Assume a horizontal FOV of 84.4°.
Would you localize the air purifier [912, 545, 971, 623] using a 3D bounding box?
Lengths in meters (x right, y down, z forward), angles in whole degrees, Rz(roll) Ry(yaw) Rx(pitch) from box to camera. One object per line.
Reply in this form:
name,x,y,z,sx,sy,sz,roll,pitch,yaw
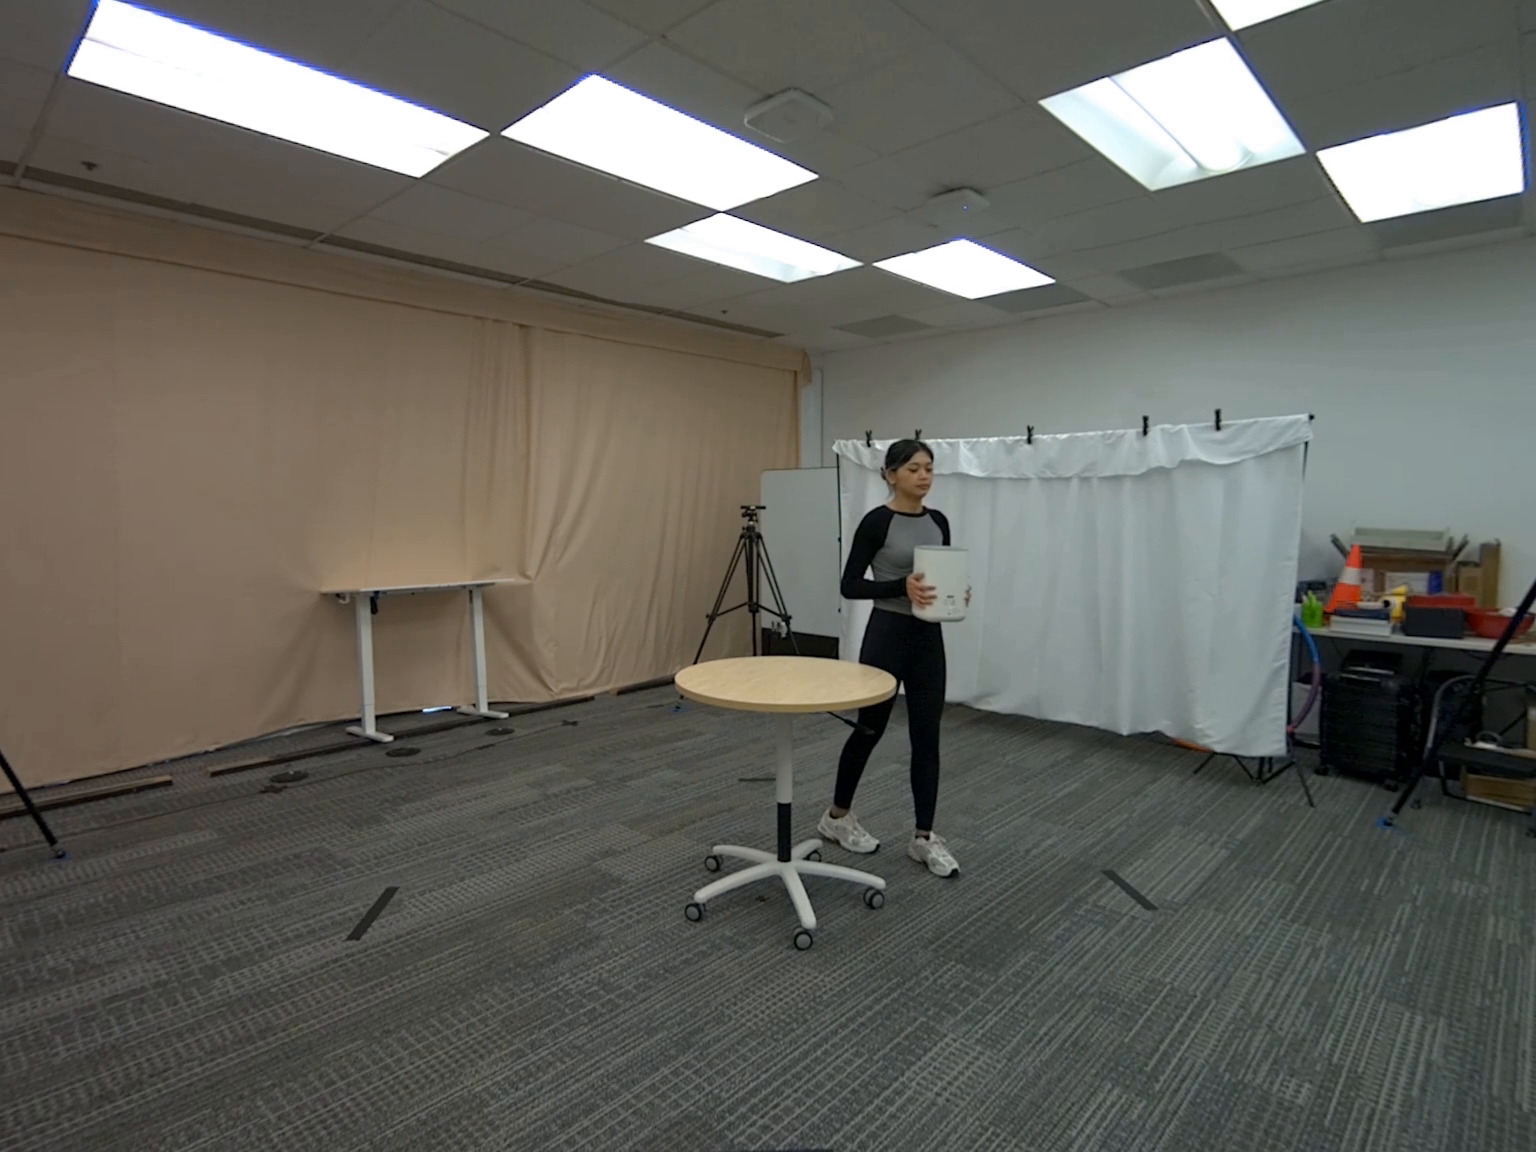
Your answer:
air purifier,0.620,0.029,3.080,0.170,0.264,0.173,0,5,-7
